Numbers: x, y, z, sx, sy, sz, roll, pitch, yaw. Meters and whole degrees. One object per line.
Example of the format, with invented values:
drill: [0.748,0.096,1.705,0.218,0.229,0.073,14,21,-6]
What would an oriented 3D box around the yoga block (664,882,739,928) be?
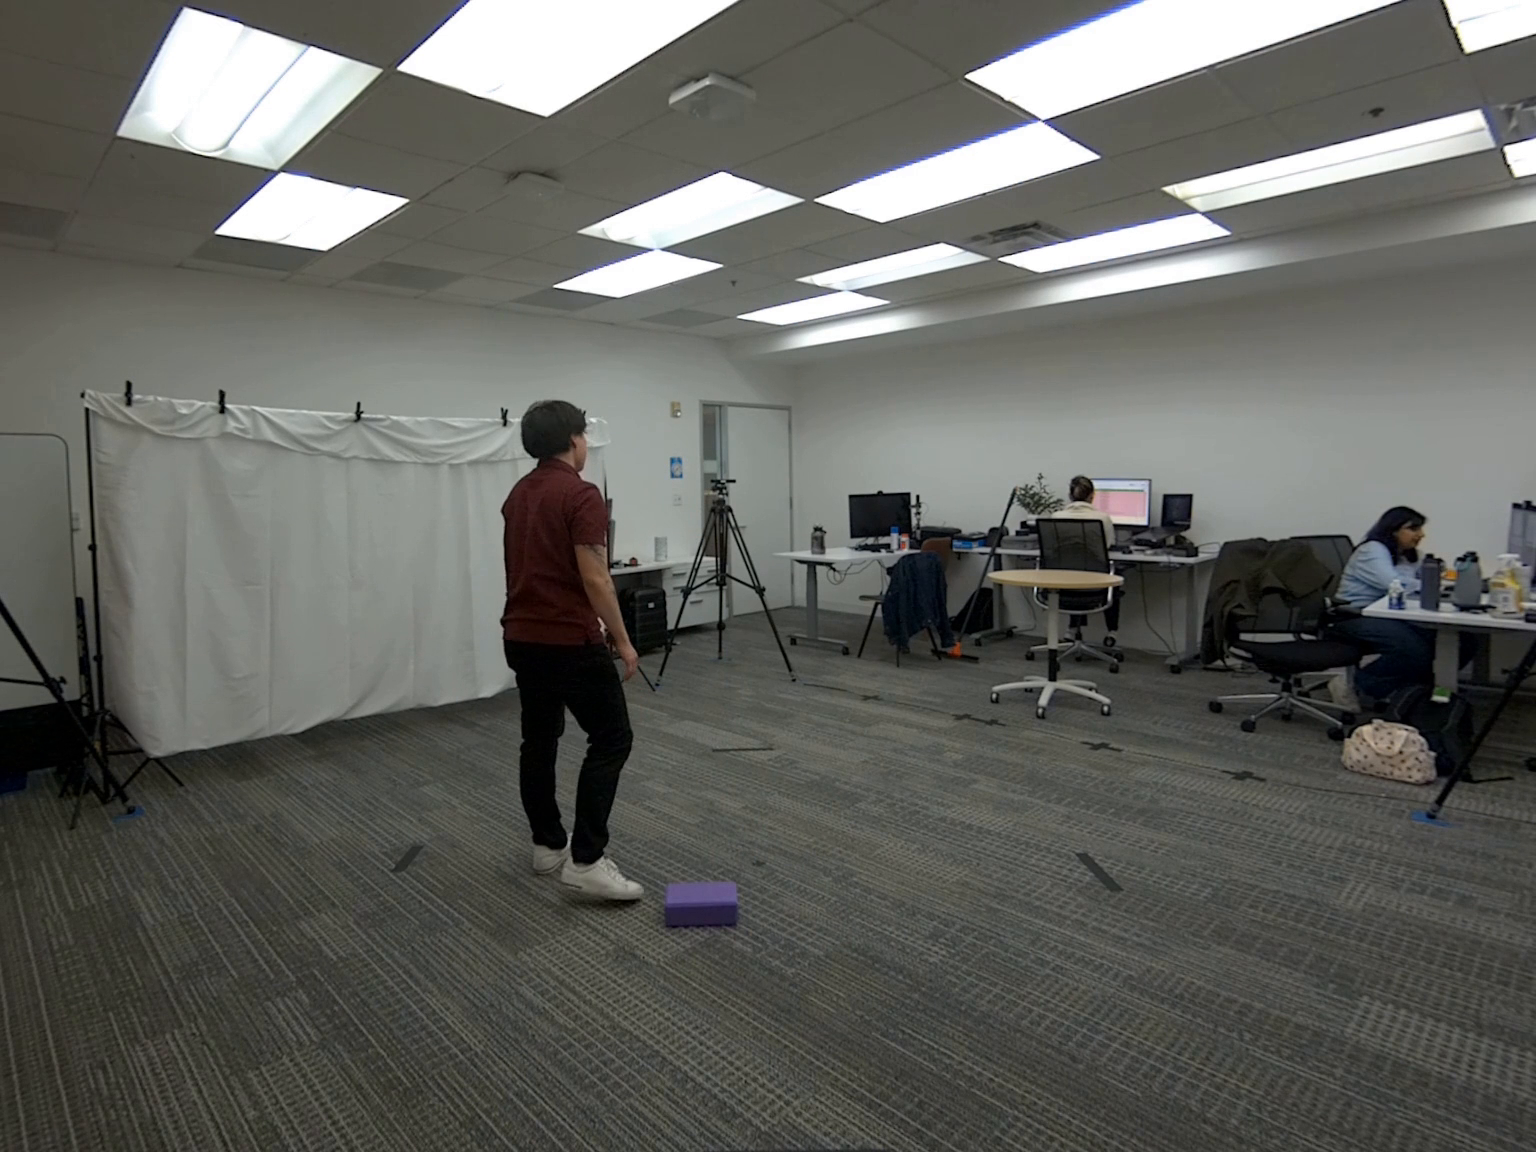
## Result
yoga block: [-0.214,1.052,2.744,0.229,0.076,0.150,-2,5,-2]
